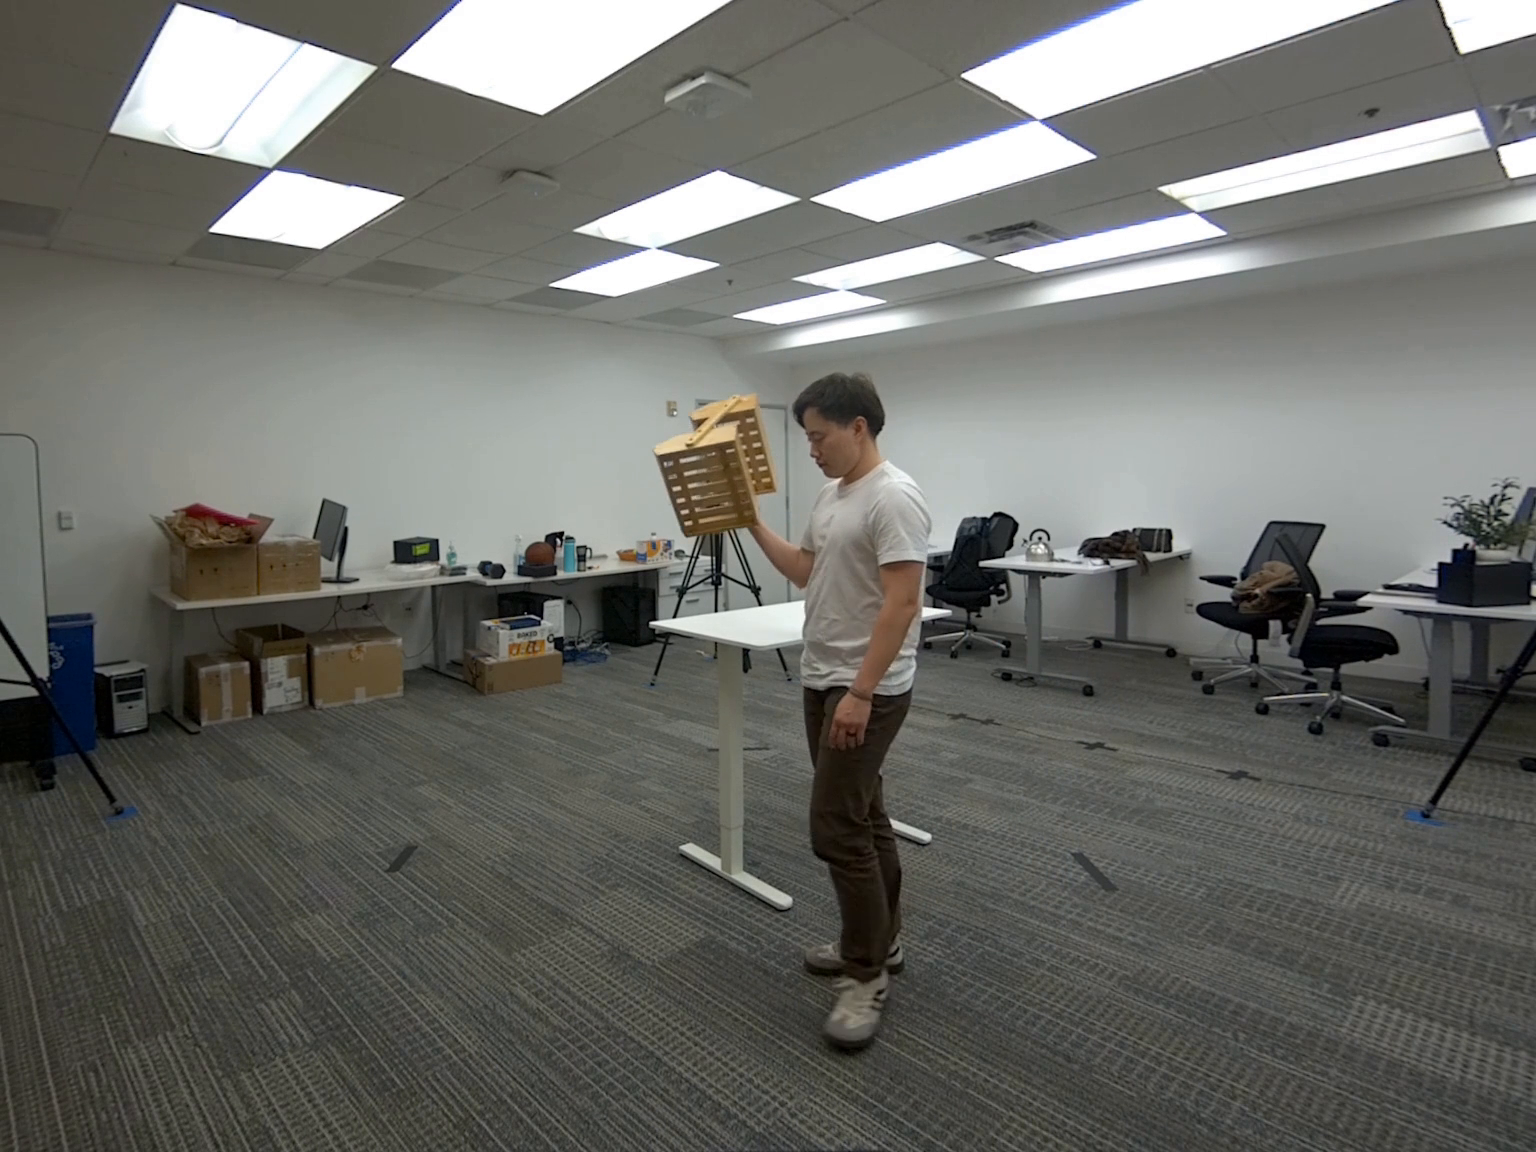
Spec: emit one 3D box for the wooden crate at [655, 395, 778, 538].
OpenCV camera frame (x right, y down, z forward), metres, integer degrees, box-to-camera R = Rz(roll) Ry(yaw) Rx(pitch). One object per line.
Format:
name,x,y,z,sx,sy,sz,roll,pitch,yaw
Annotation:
wooden crate,-0.144,-0.337,2.597,0.305,0.314,0.279,-9,36,11
